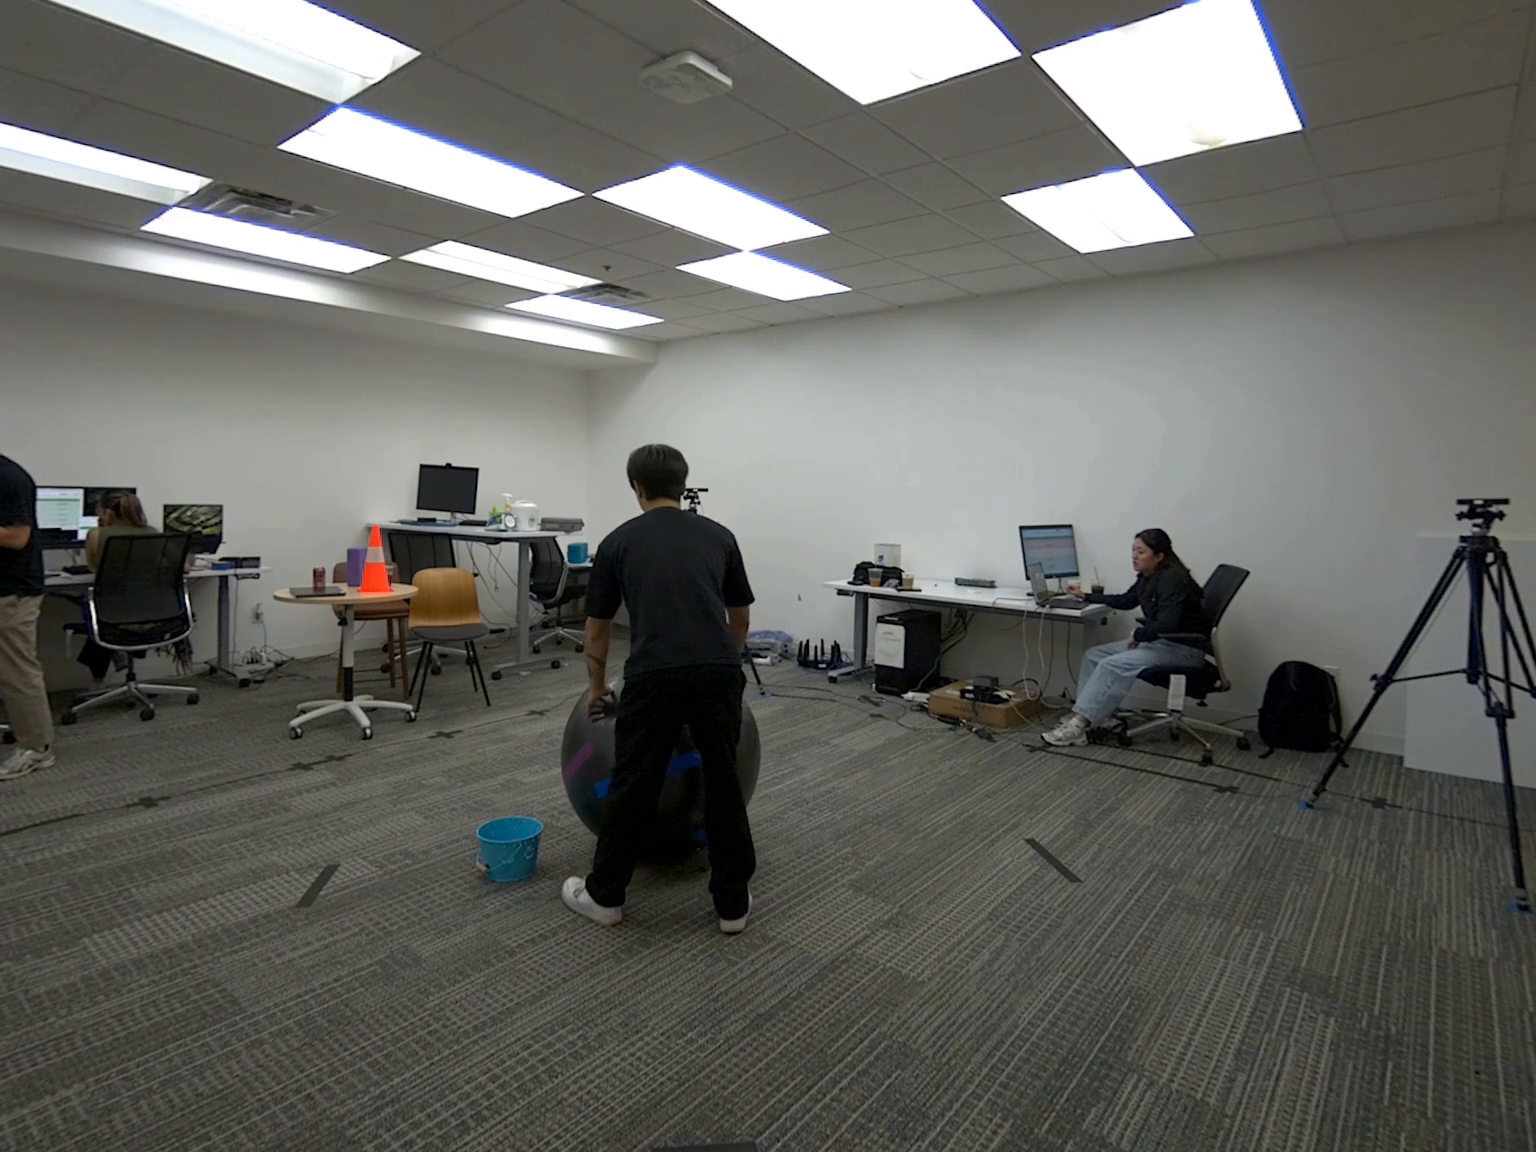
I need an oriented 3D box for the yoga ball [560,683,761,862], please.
[{"bbox_3d":[-0.424,0.681,3.256,0.757,0.755,0.762,1,4,-2],"label":"yoga ball"}]
